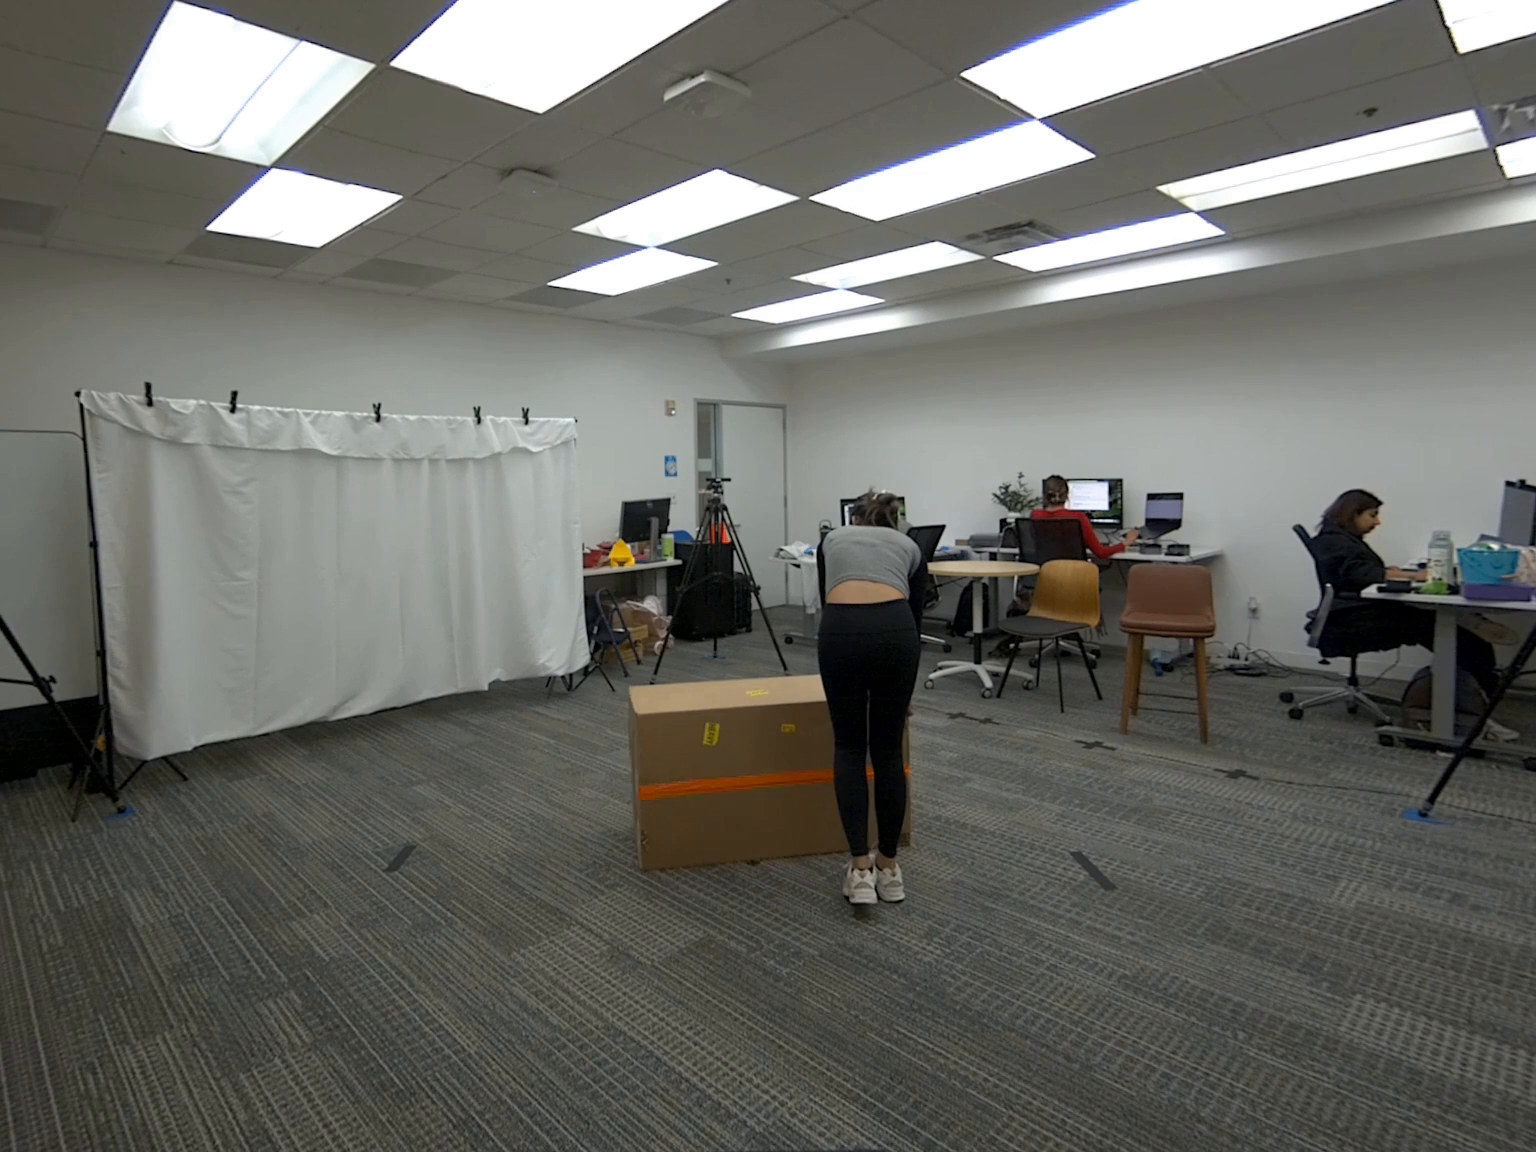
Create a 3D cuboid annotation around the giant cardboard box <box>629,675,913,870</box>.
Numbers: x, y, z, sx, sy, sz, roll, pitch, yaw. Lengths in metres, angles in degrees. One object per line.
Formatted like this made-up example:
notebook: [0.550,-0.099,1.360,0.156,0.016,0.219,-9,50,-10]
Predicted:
giant cardboard box: [-0.017,0.727,3.327,1.016,0.581,0.454,-2,5,-11]
